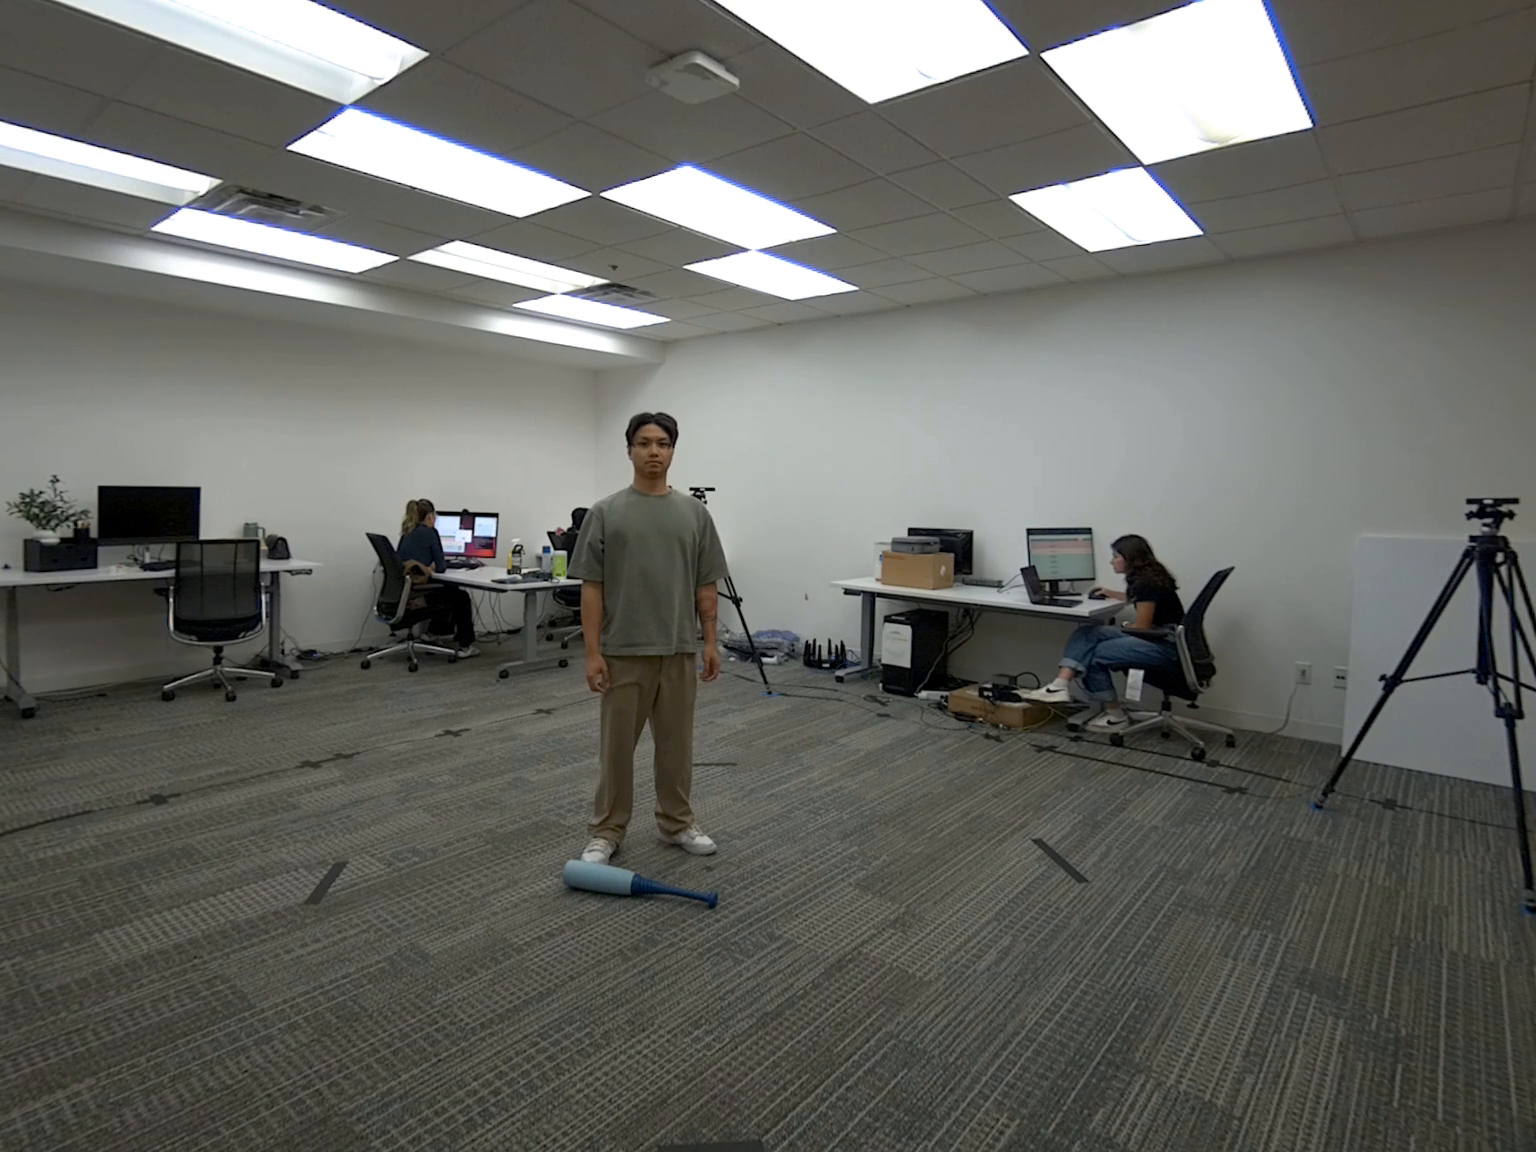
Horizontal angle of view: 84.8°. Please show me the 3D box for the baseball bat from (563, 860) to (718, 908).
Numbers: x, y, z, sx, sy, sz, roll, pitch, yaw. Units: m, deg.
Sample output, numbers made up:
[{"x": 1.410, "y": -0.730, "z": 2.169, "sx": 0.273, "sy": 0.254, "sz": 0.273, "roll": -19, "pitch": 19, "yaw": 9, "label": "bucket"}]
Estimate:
[{"x": -0.448, "y": 1.043, "z": 2.885, "sx": 0.551, "sy": 0.089, "sz": 0.088, "roll": 4, "pitch": 5, "yaw": 13, "label": "baseball bat"}]
